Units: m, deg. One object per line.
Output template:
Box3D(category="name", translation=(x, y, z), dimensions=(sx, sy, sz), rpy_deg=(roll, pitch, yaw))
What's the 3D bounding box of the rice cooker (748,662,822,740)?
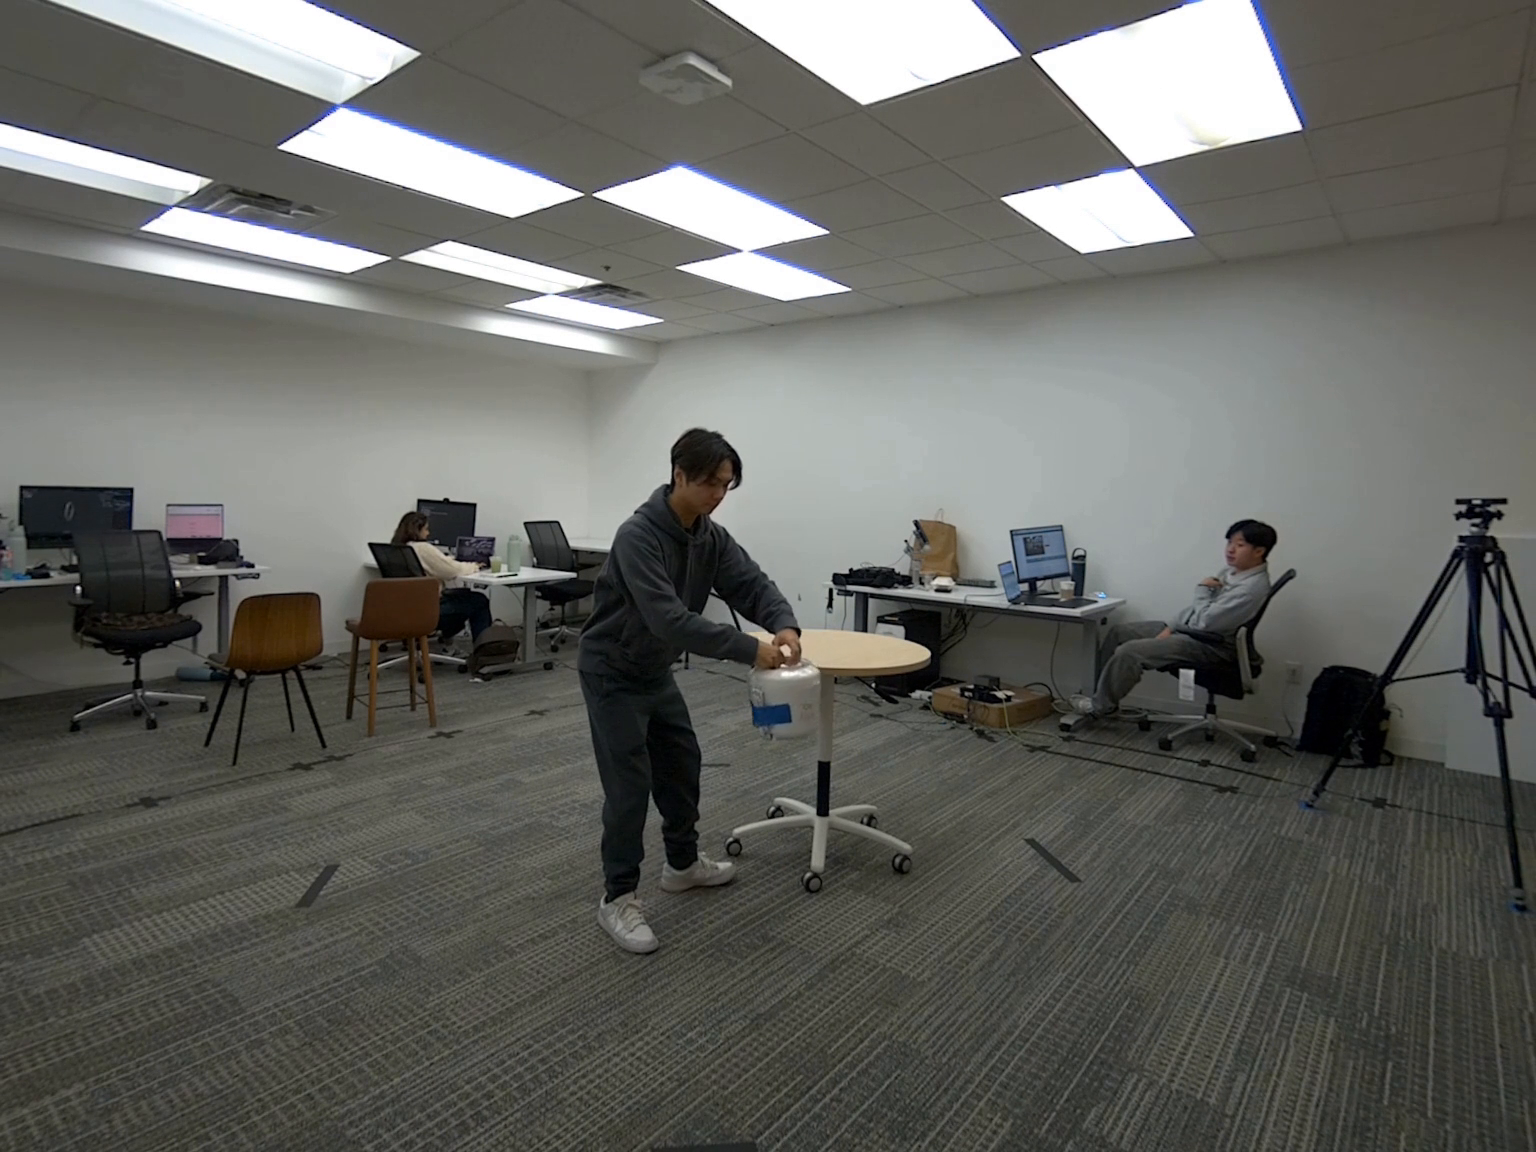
Box3D(category="rice cooker", translation=(0.046, 0.355, 2.544), dimensions=(0.219, 0.232, 0.219), rpy_deg=(0, 5, -5))
